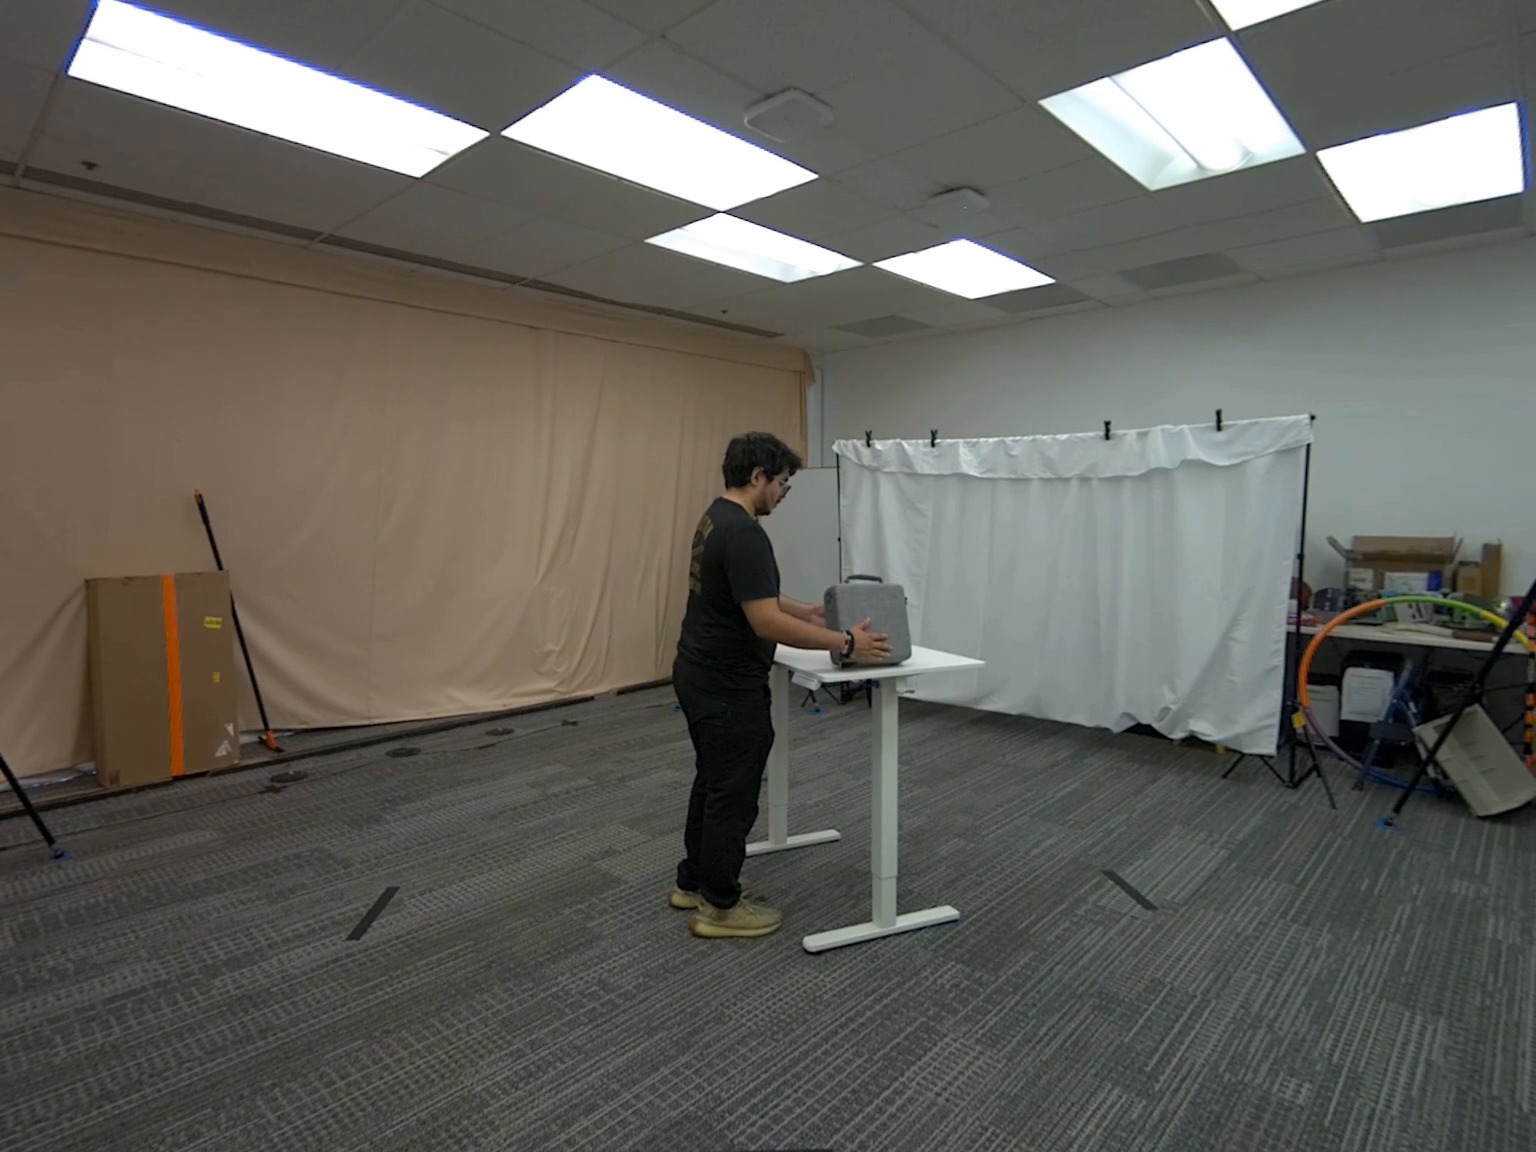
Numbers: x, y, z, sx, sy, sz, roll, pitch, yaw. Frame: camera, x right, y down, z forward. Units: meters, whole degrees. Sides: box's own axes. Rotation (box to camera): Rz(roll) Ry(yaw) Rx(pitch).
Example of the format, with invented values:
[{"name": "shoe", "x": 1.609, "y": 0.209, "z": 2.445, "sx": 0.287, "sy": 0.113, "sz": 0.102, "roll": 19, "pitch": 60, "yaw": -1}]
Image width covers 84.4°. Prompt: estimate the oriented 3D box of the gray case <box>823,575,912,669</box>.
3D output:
[{"name": "gray case", "x": 0.319, "y": 0.157, "z": 2.641, "sx": 0.253, "sy": 0.262, "sz": 0.105, "roll": 0, "pitch": -11, "yaw": -15}]
